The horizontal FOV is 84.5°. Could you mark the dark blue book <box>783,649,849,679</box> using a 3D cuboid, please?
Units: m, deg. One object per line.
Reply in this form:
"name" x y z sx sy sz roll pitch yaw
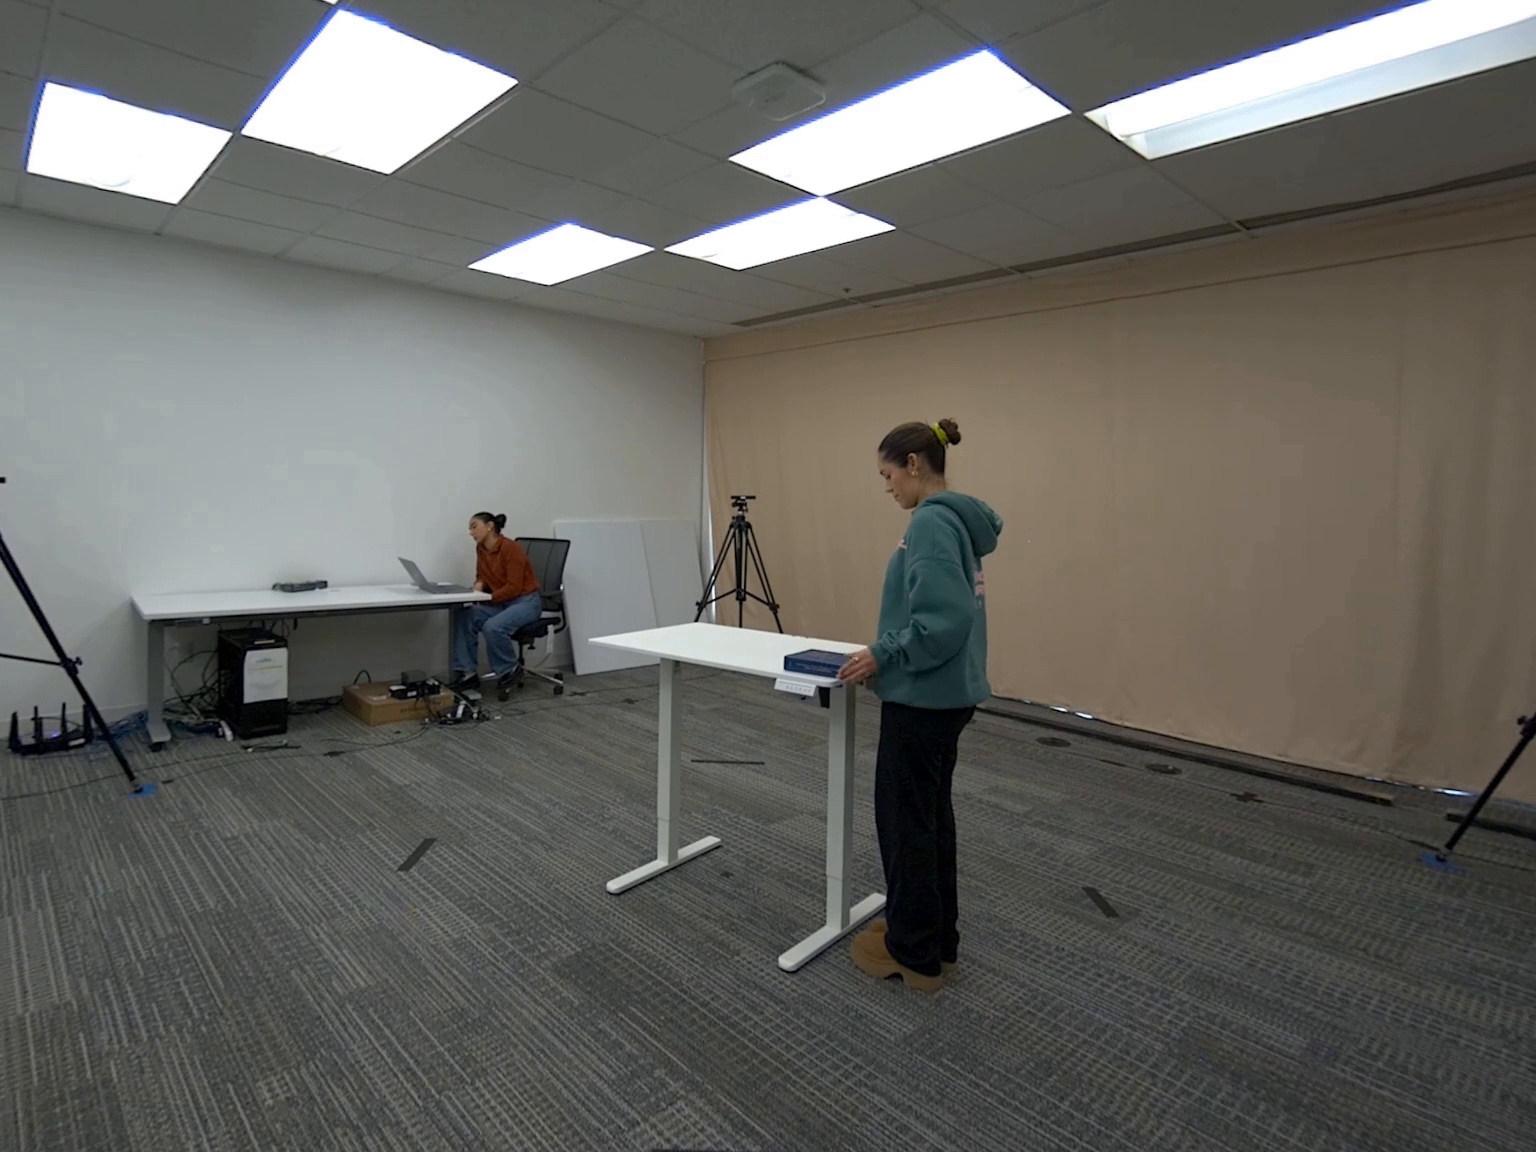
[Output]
"dark blue book" 0.193 0.264 2.484 0.251 0.045 0.160 5 7 32
